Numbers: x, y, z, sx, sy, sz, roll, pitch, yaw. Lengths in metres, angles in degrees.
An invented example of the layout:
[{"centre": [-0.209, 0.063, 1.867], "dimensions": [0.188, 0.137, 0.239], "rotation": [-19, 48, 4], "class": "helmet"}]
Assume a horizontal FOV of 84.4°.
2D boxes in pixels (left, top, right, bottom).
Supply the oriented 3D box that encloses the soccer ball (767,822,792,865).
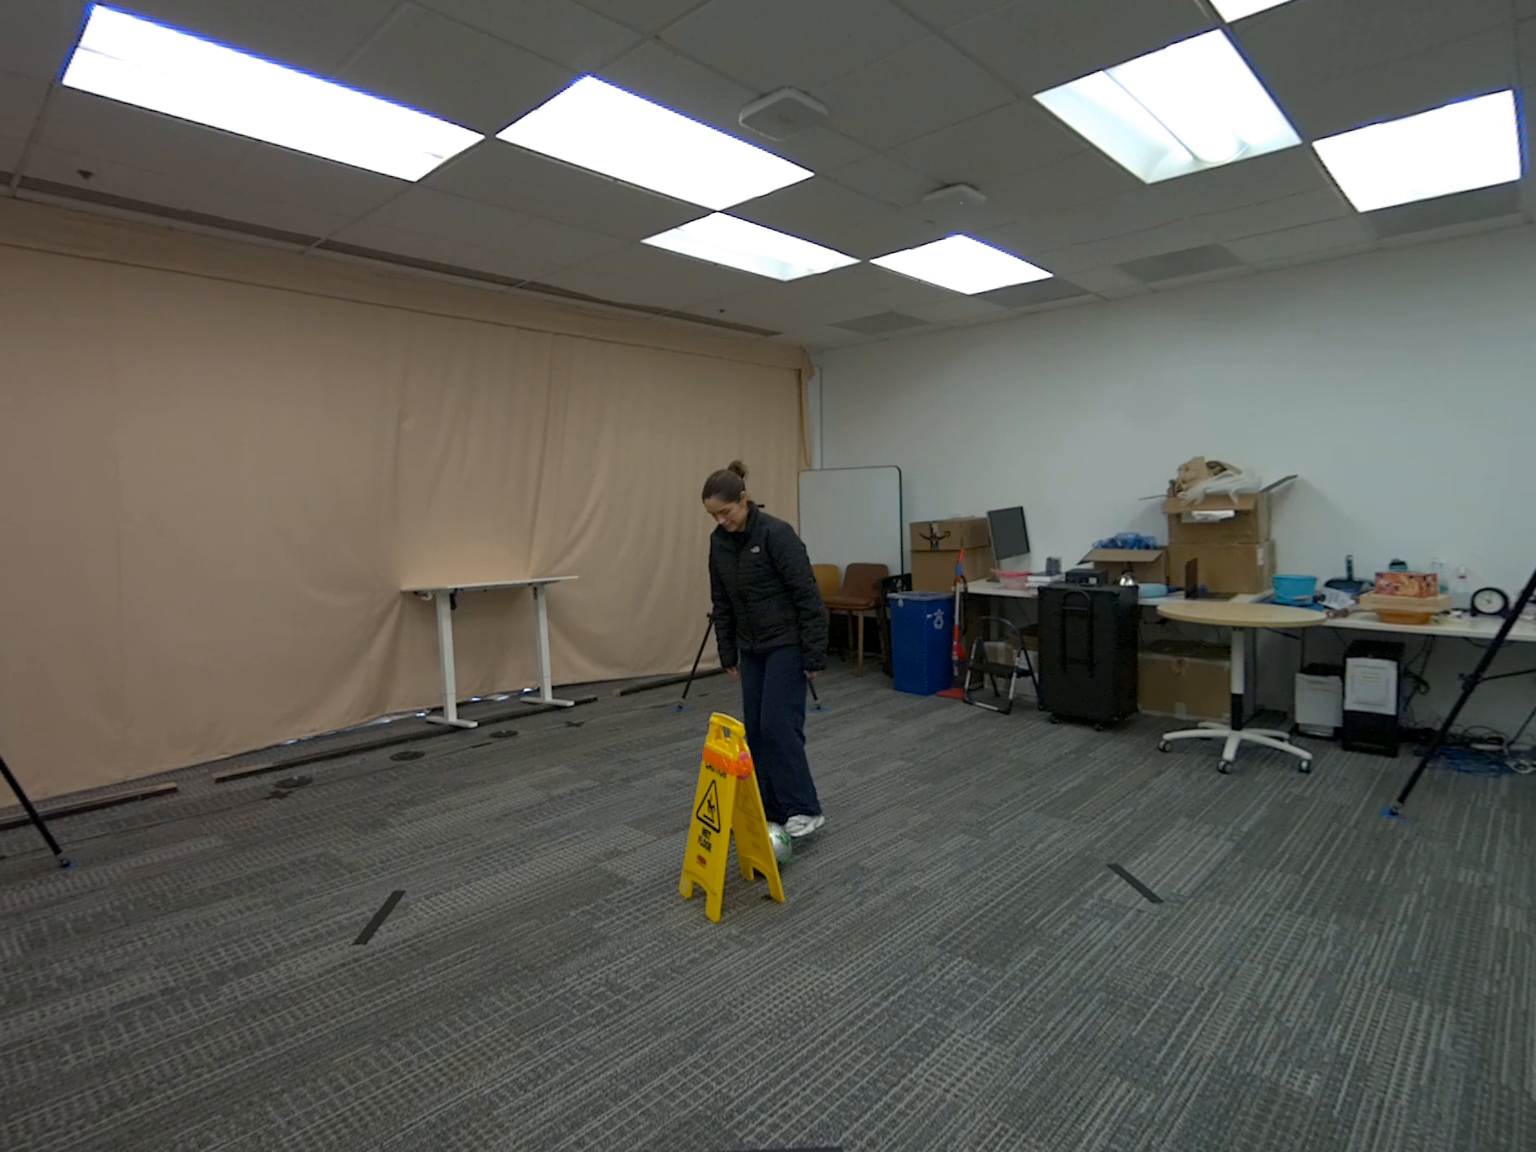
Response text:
[{"centre": [0.000, 1.023, 3.196], "dimensions": [0.187, 0.187, 0.188], "rotation": [-1, 4, -2], "class": "soccer ball"}]
